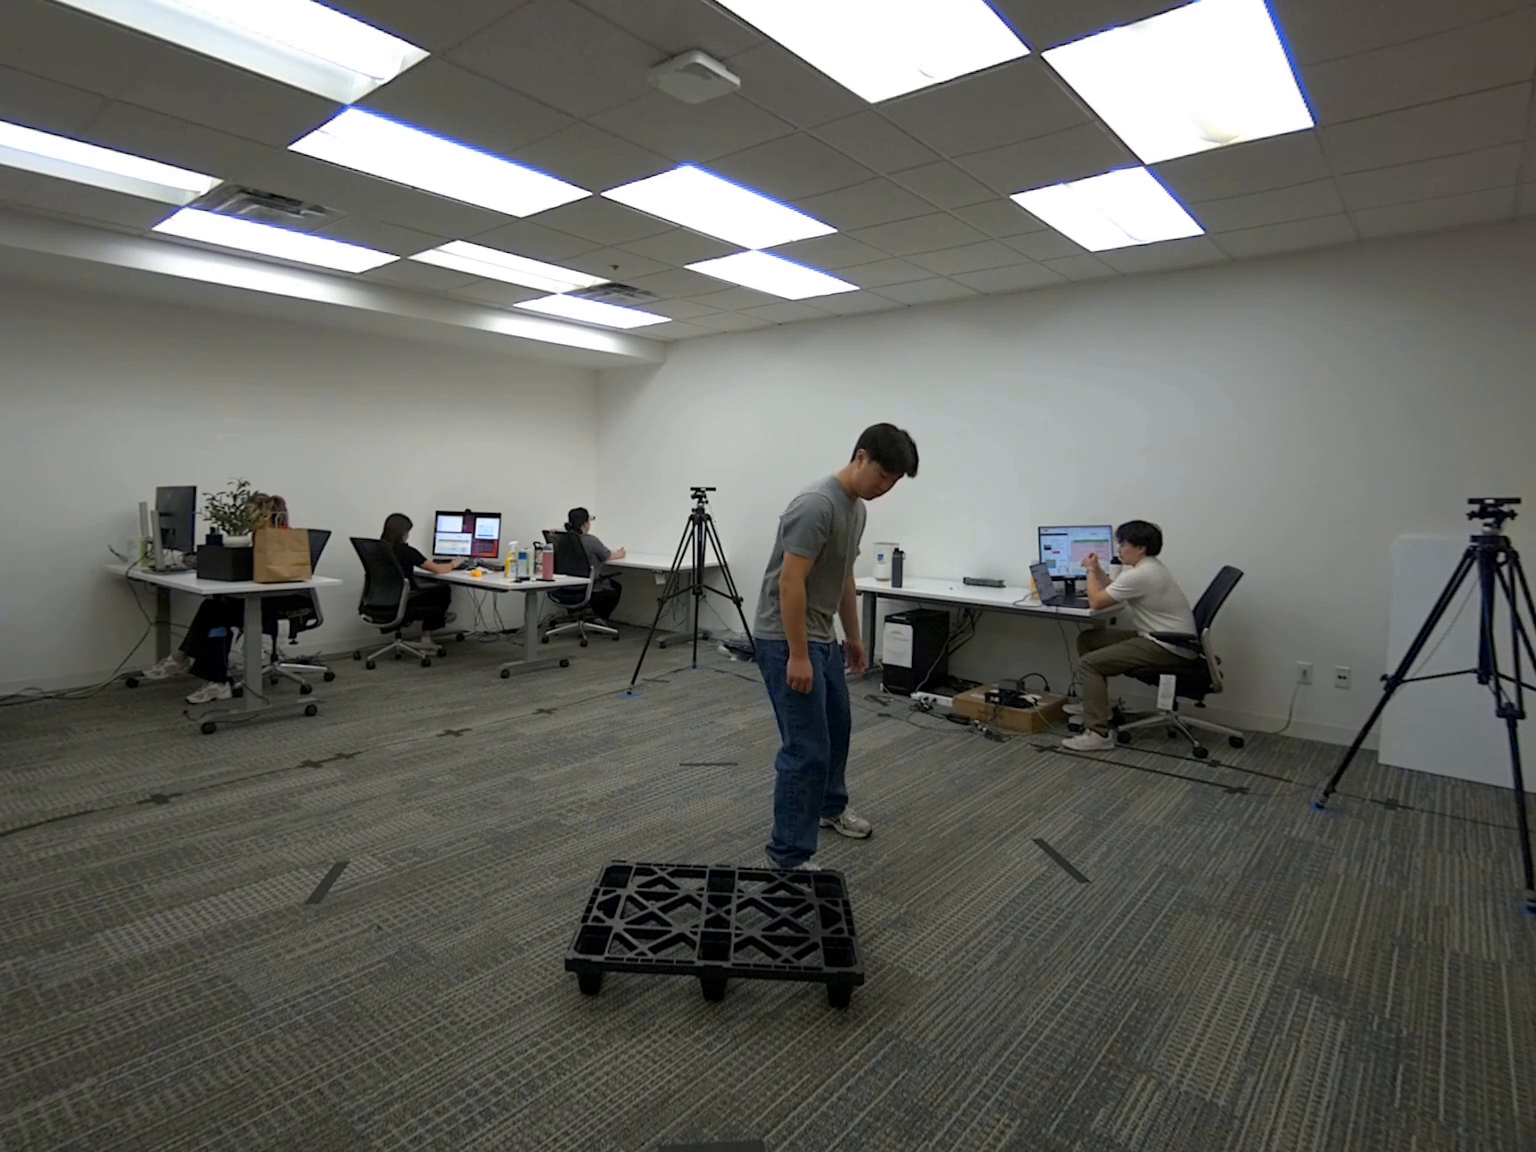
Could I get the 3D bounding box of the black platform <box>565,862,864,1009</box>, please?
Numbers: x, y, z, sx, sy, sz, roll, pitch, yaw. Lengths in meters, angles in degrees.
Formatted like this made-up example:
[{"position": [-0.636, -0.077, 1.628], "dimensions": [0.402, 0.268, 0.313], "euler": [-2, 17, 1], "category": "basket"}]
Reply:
[{"position": [-0.161, 1.053, 2.537], "dimensions": [0.808, 0.143, 0.606], "euler": [2, 5, 2], "category": "black platform"}]
